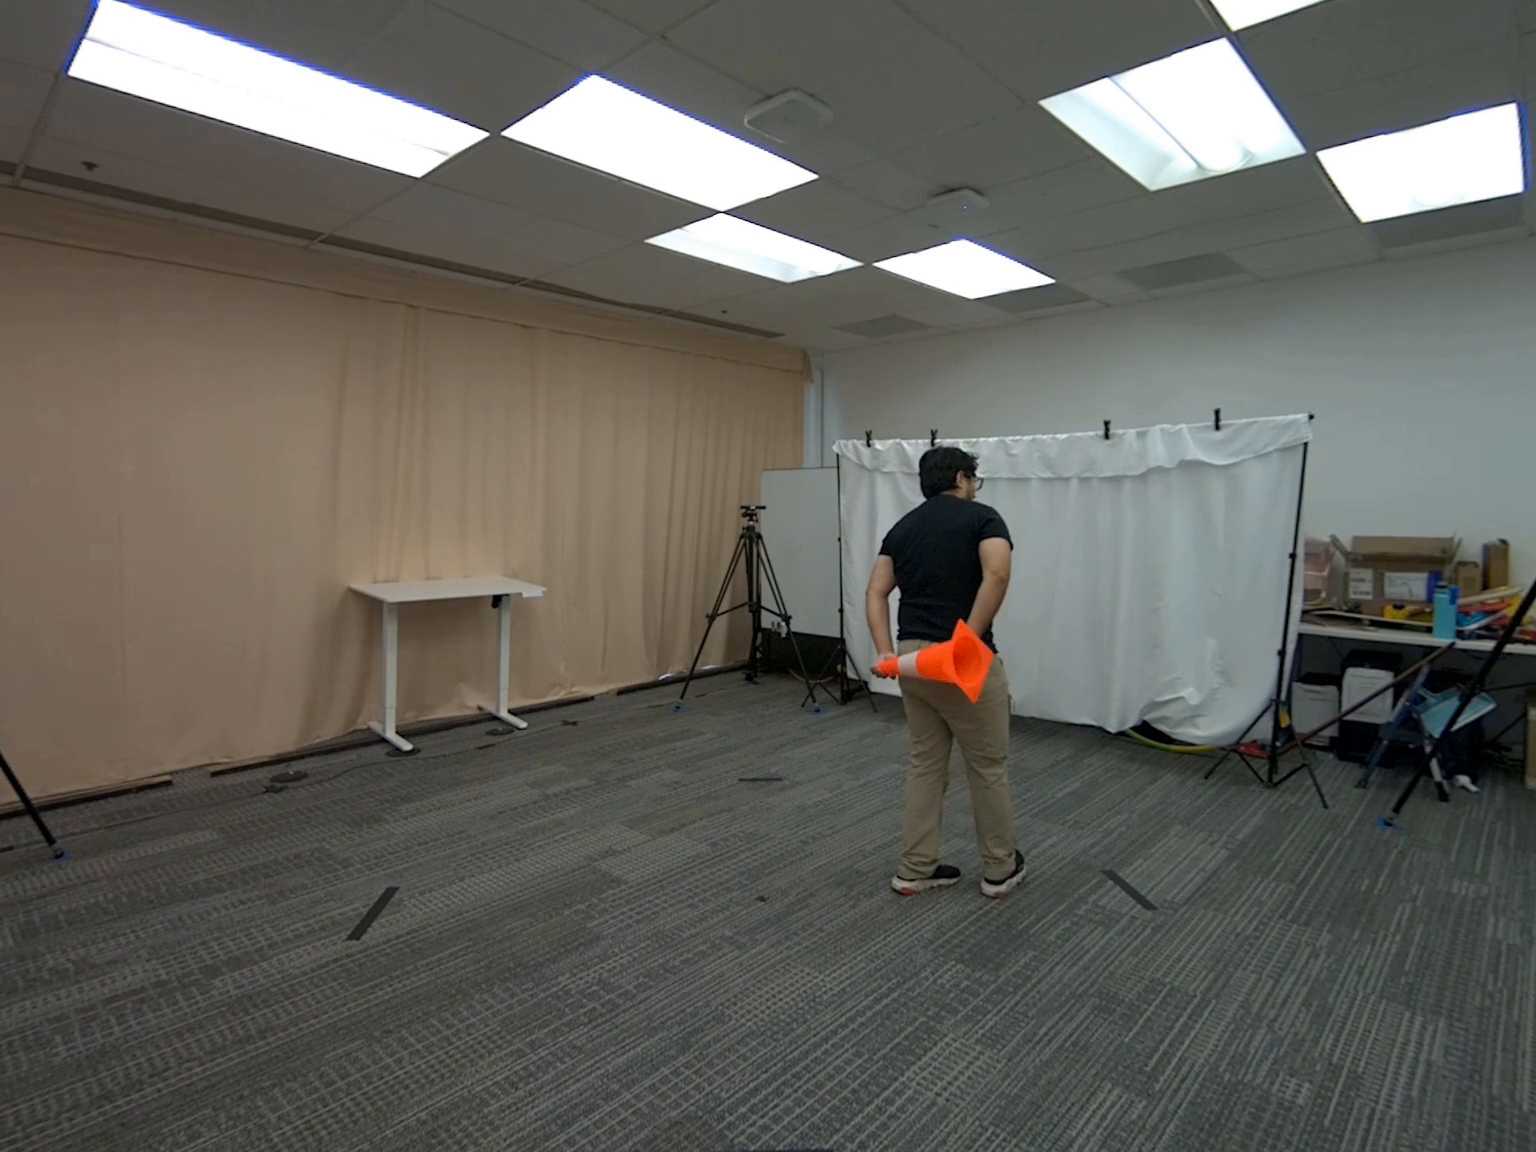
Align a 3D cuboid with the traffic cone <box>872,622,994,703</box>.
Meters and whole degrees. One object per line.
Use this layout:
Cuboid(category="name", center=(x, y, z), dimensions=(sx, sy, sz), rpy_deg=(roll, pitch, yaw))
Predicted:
Cuboid(category="traffic cone", center=(0.522, 0.303, 2.849), dimensions=(0.198, 0.205, 0.393), rpy_deg=(40, -33, -25))
